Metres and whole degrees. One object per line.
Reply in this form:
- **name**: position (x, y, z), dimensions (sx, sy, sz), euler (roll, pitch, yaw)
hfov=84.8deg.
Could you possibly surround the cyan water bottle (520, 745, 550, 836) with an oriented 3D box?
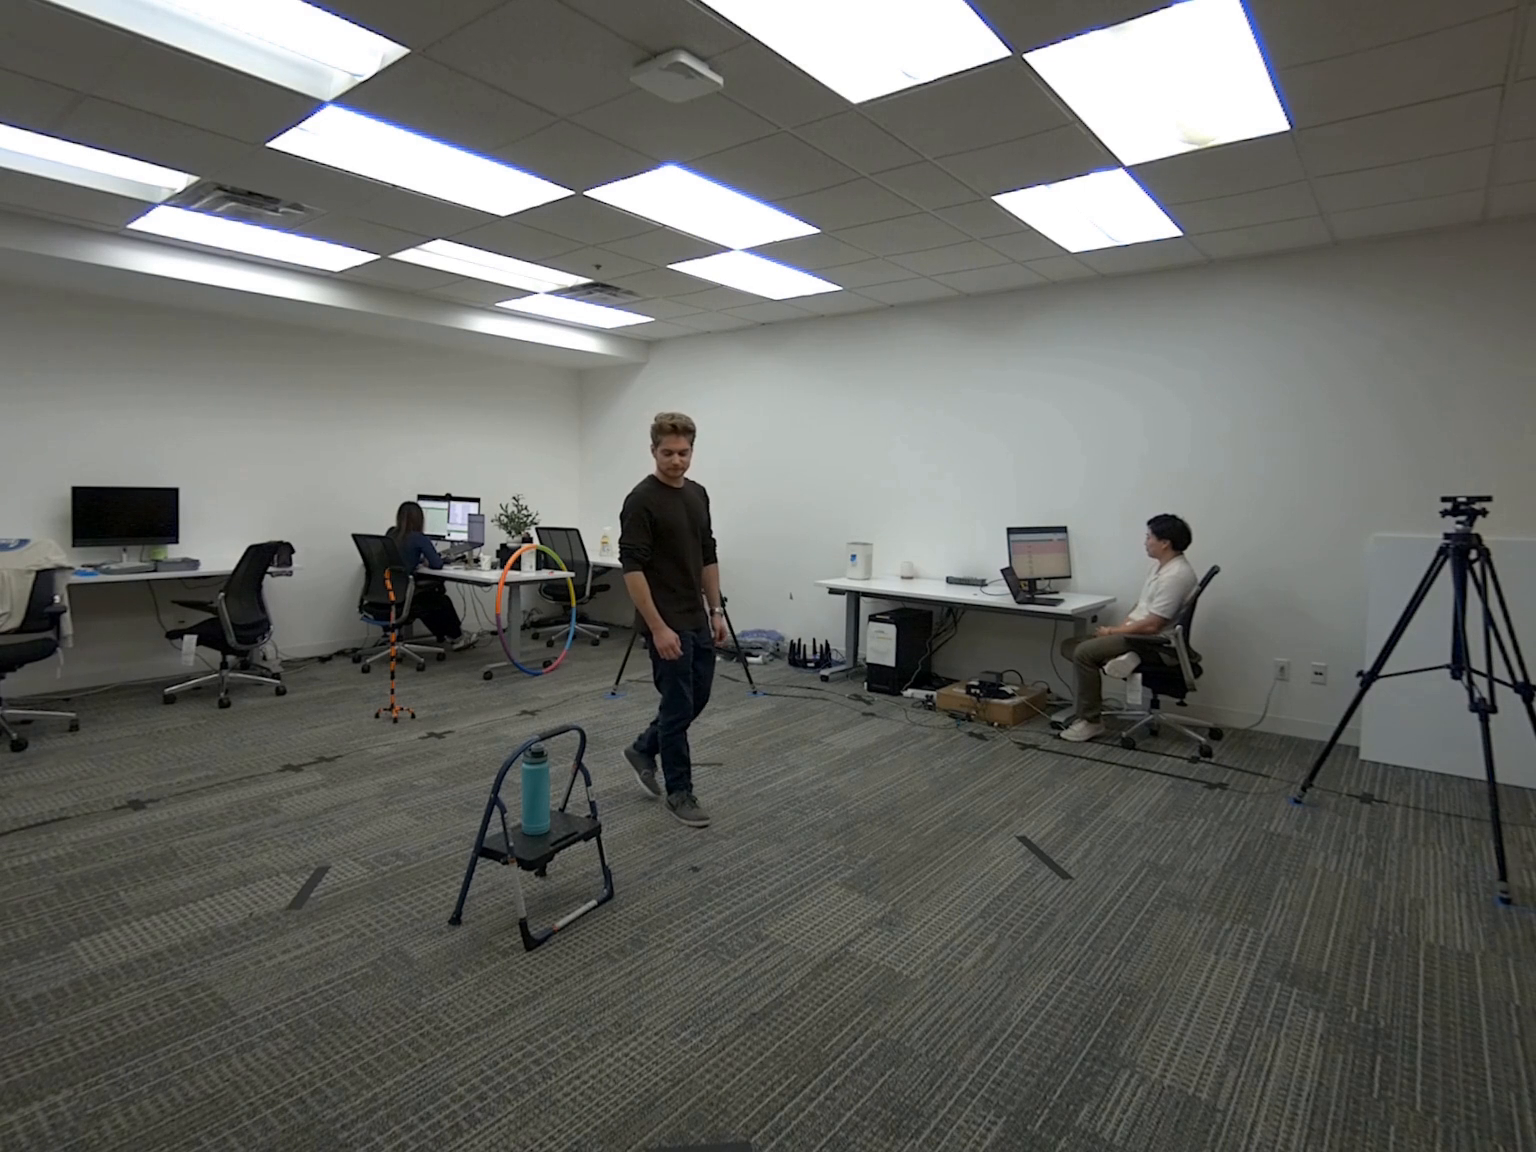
- **cyan water bottle**: position (-0.769, 0.691, 2.774), dimensions (0.092, 0.283, 0.092), euler (-2, 2, -2)
